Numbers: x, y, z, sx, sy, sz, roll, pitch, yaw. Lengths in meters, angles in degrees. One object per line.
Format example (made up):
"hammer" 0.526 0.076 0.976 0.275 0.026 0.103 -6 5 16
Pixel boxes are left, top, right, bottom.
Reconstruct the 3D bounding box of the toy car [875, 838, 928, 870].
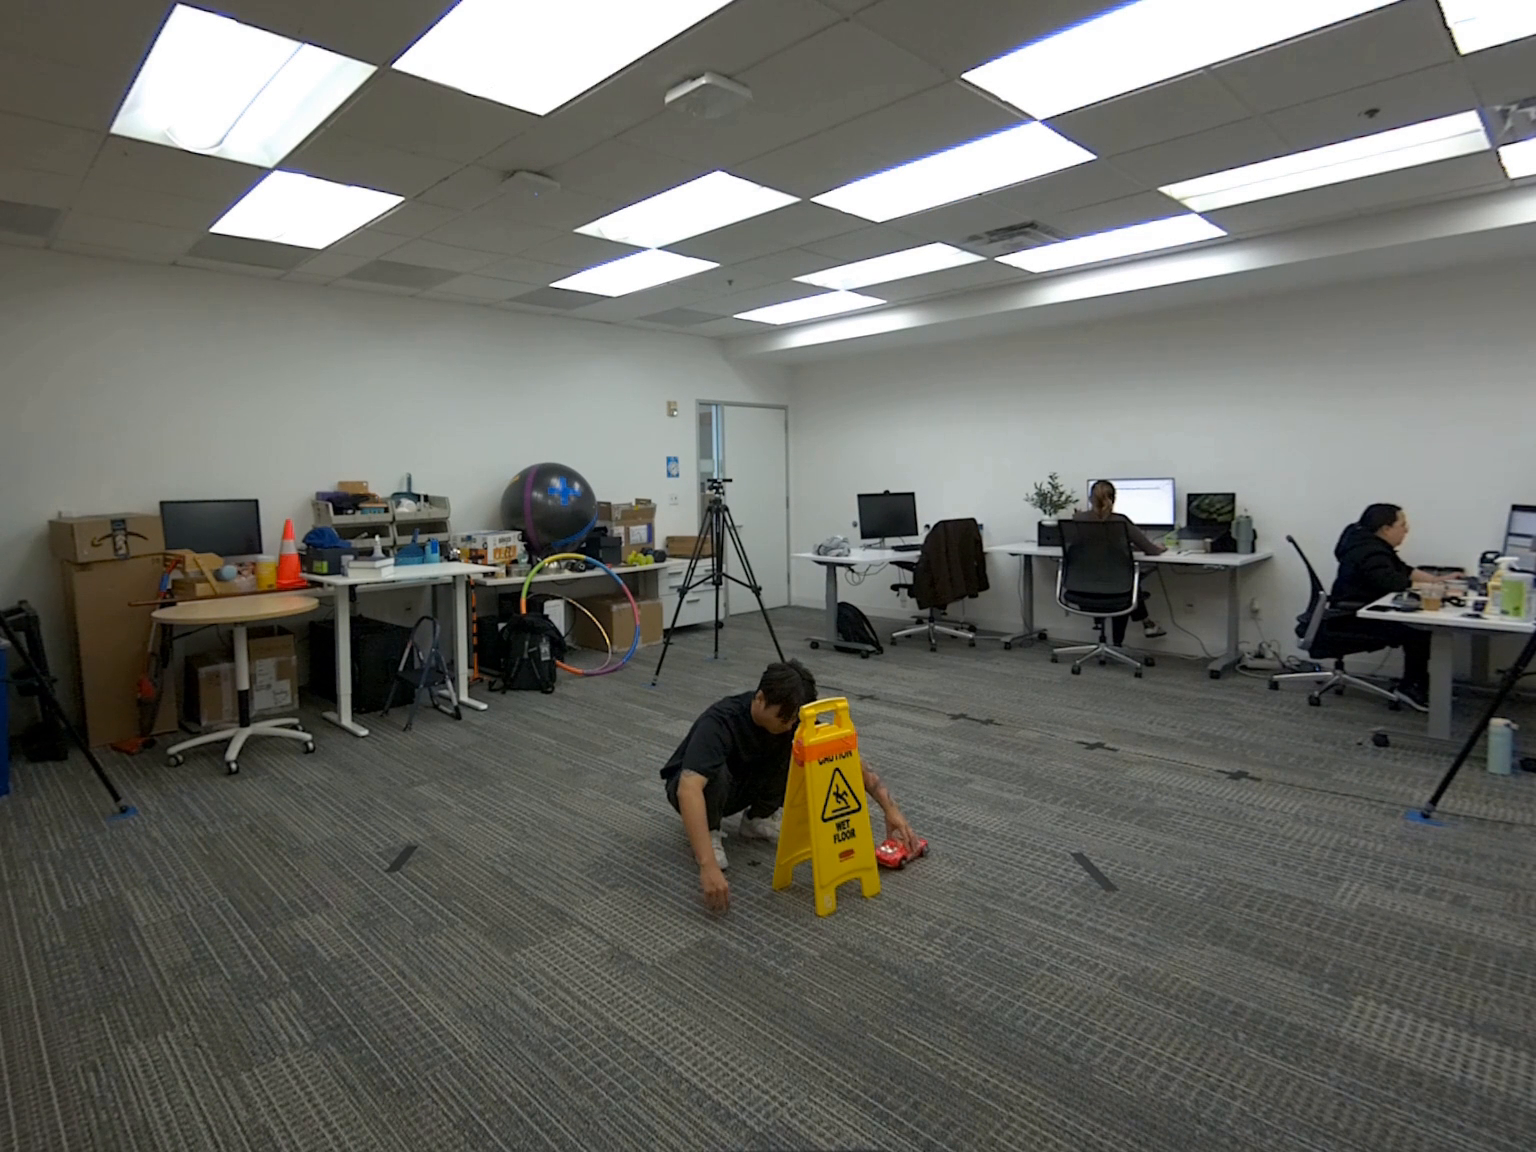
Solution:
"toy car" 0.470 0.997 3.101 0.246 0.083 0.134 9 -2 -44
